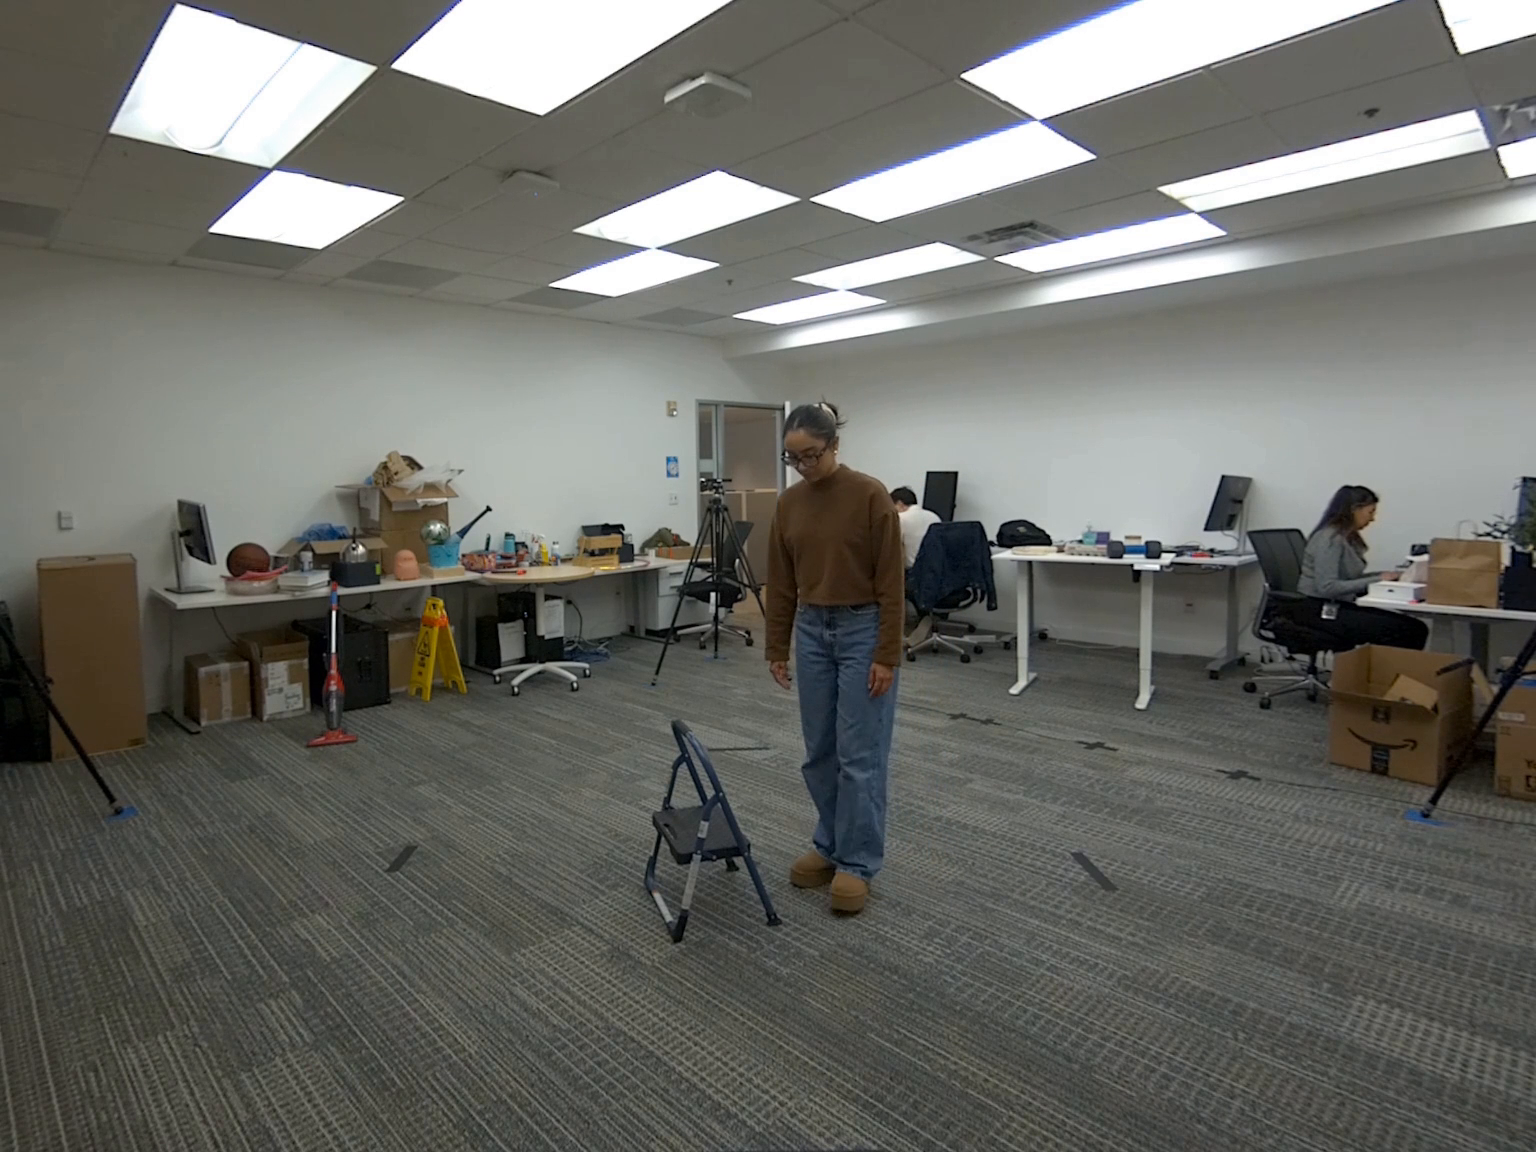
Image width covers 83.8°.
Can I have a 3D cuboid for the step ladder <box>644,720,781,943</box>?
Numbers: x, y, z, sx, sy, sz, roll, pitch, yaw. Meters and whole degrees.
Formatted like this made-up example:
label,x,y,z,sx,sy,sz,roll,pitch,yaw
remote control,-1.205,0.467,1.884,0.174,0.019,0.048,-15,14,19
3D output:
label,x,y,z,sx,sy,sz,roll,pitch,yaw
step ladder,-0.190,0.779,2.803,0.343,0.604,0.440,-2,5,-21
